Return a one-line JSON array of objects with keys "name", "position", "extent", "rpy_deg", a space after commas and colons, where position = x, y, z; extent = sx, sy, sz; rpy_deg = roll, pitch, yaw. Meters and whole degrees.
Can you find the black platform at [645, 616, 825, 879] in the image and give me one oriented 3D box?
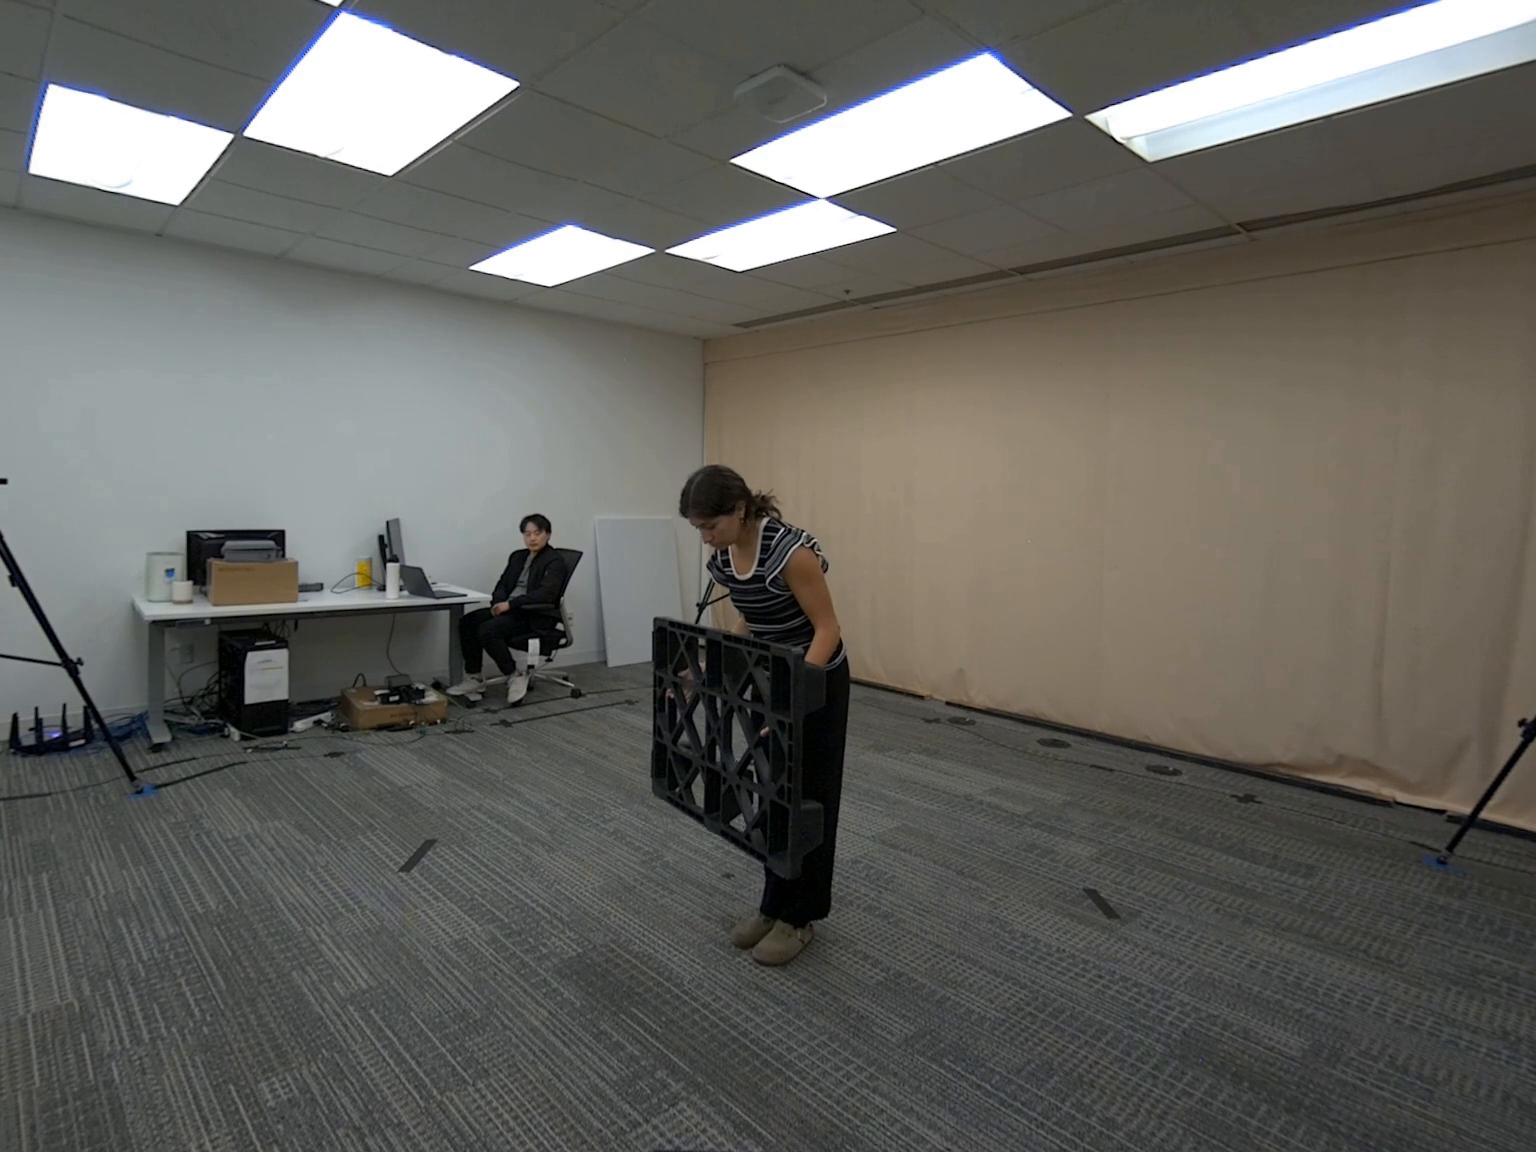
[{"name": "black platform", "position": [-0.115, 0.463, 2.511], "extent": [0.140, 0.604, 0.824], "rpy_deg": [1, 2, -34]}]
